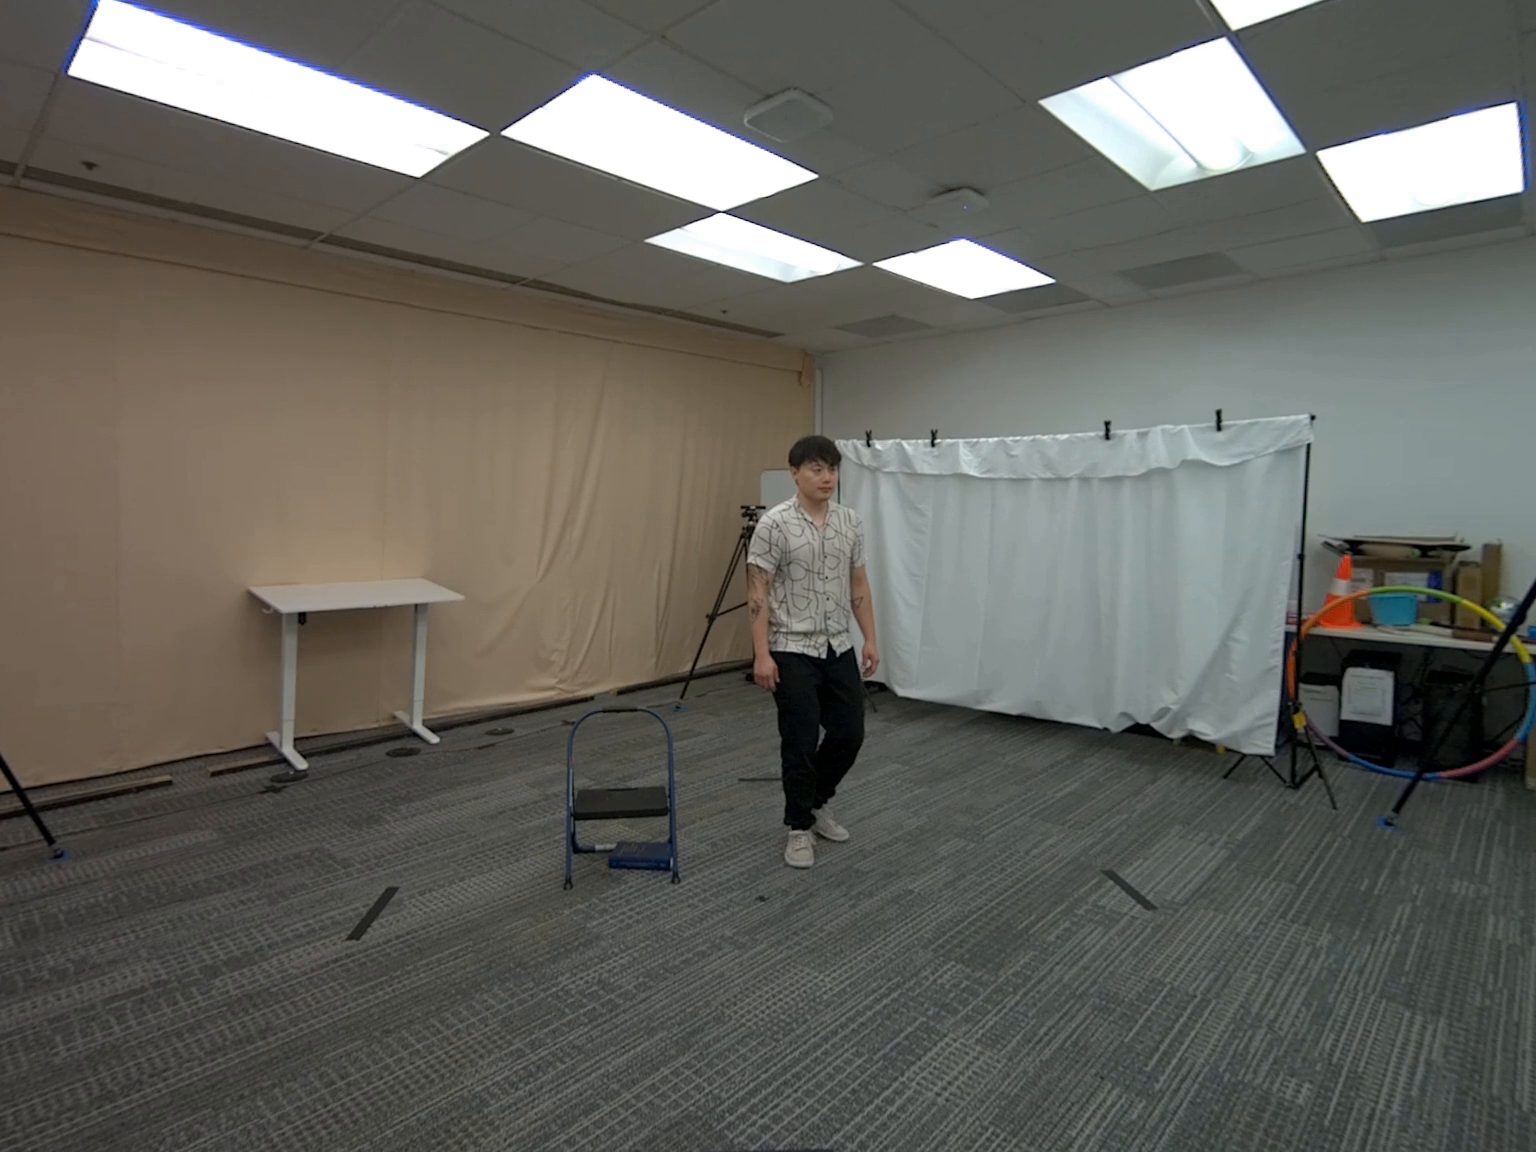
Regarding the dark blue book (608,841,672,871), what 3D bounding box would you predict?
[{"bbox_3d":[-0.497,1.107,3.290,0.247,0.045,0.162,0,3,5],"label":"dark blue book"}]
